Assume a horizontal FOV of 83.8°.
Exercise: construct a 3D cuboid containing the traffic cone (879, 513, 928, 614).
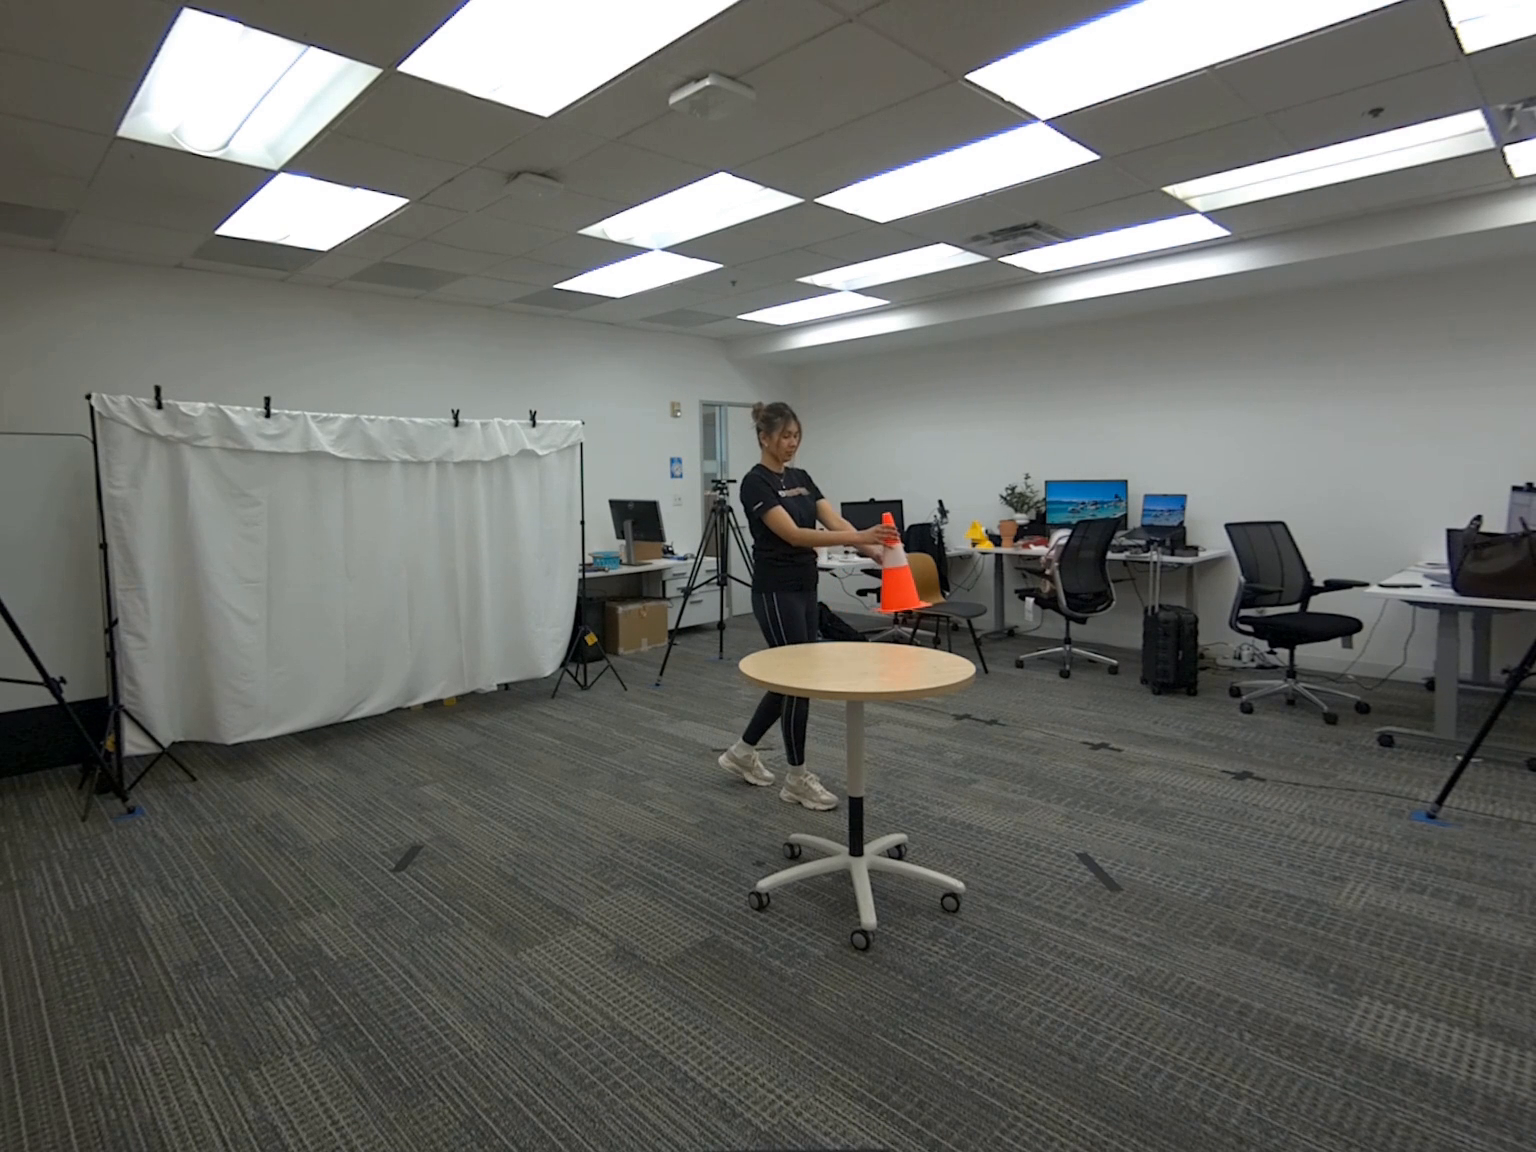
[{"bbox_3d":[0.510,-0.062,3.435,0.199,0.383,0.210,-9,3,-28],"label":"traffic cone"}]
